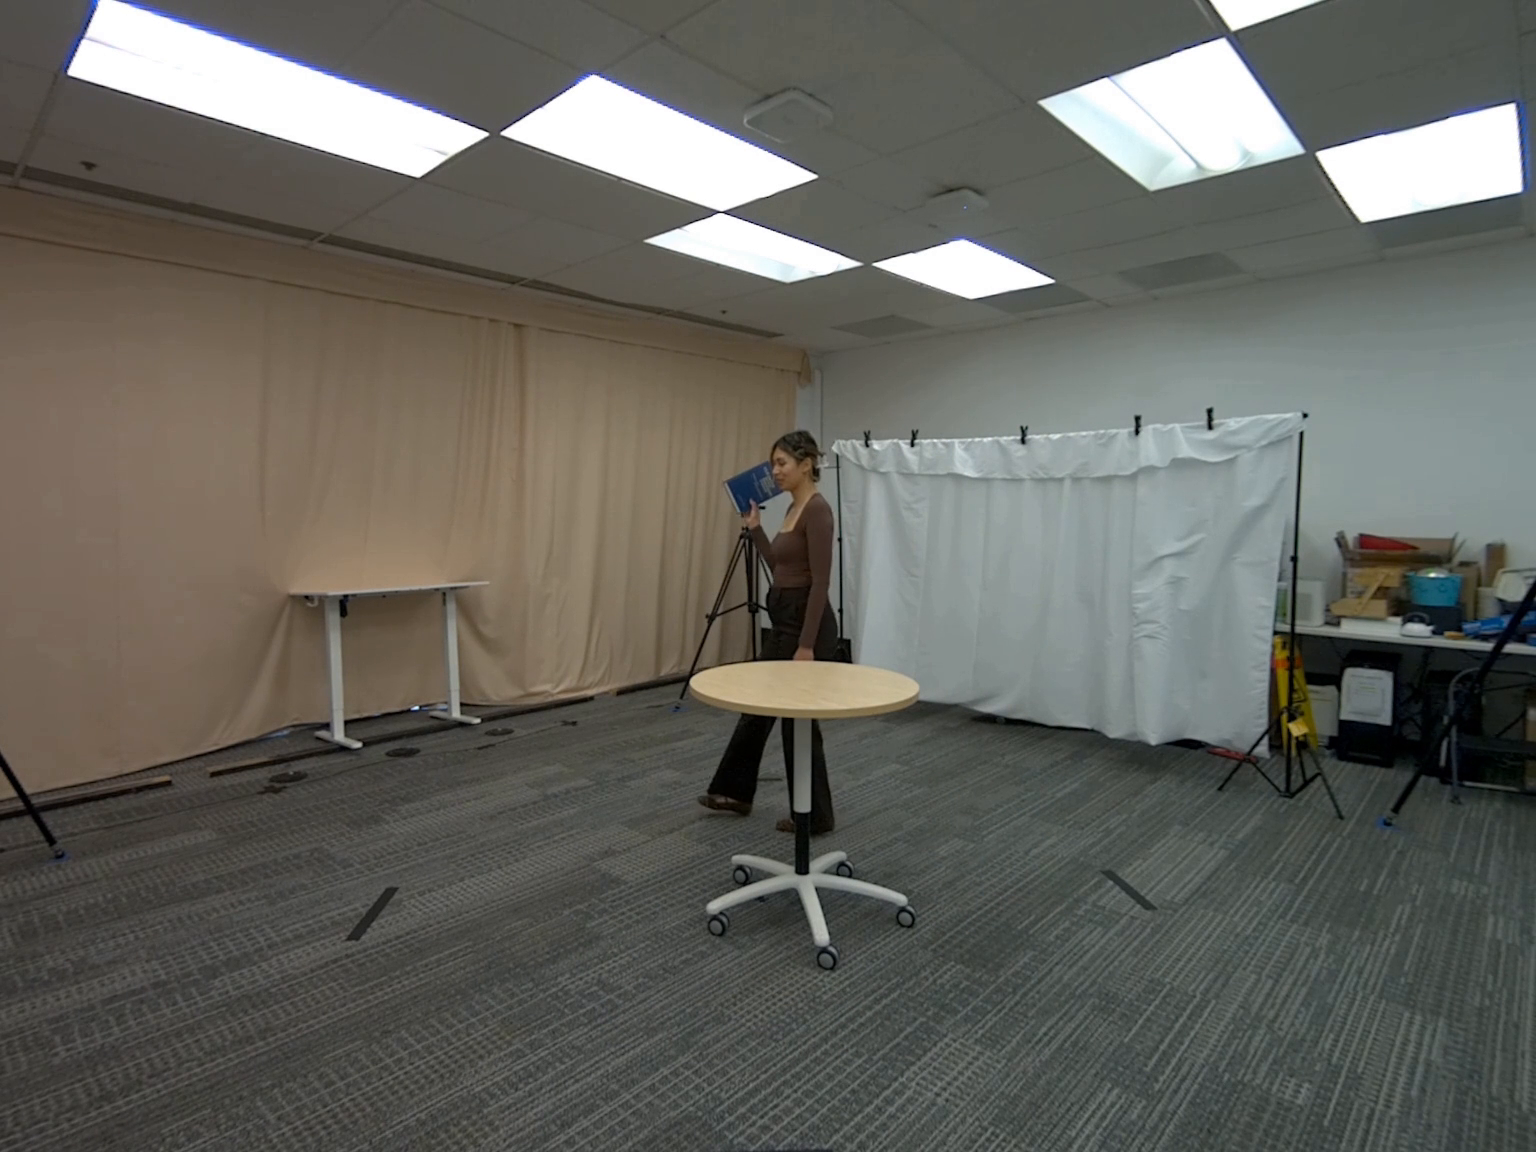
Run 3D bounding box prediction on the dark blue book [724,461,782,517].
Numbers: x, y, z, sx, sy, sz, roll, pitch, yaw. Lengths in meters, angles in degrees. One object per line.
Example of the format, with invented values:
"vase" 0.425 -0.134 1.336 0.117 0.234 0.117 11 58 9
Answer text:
"dark blue book" -0.059 -0.404 3.836 0.242 0.163 0.046 -28 1 -20
